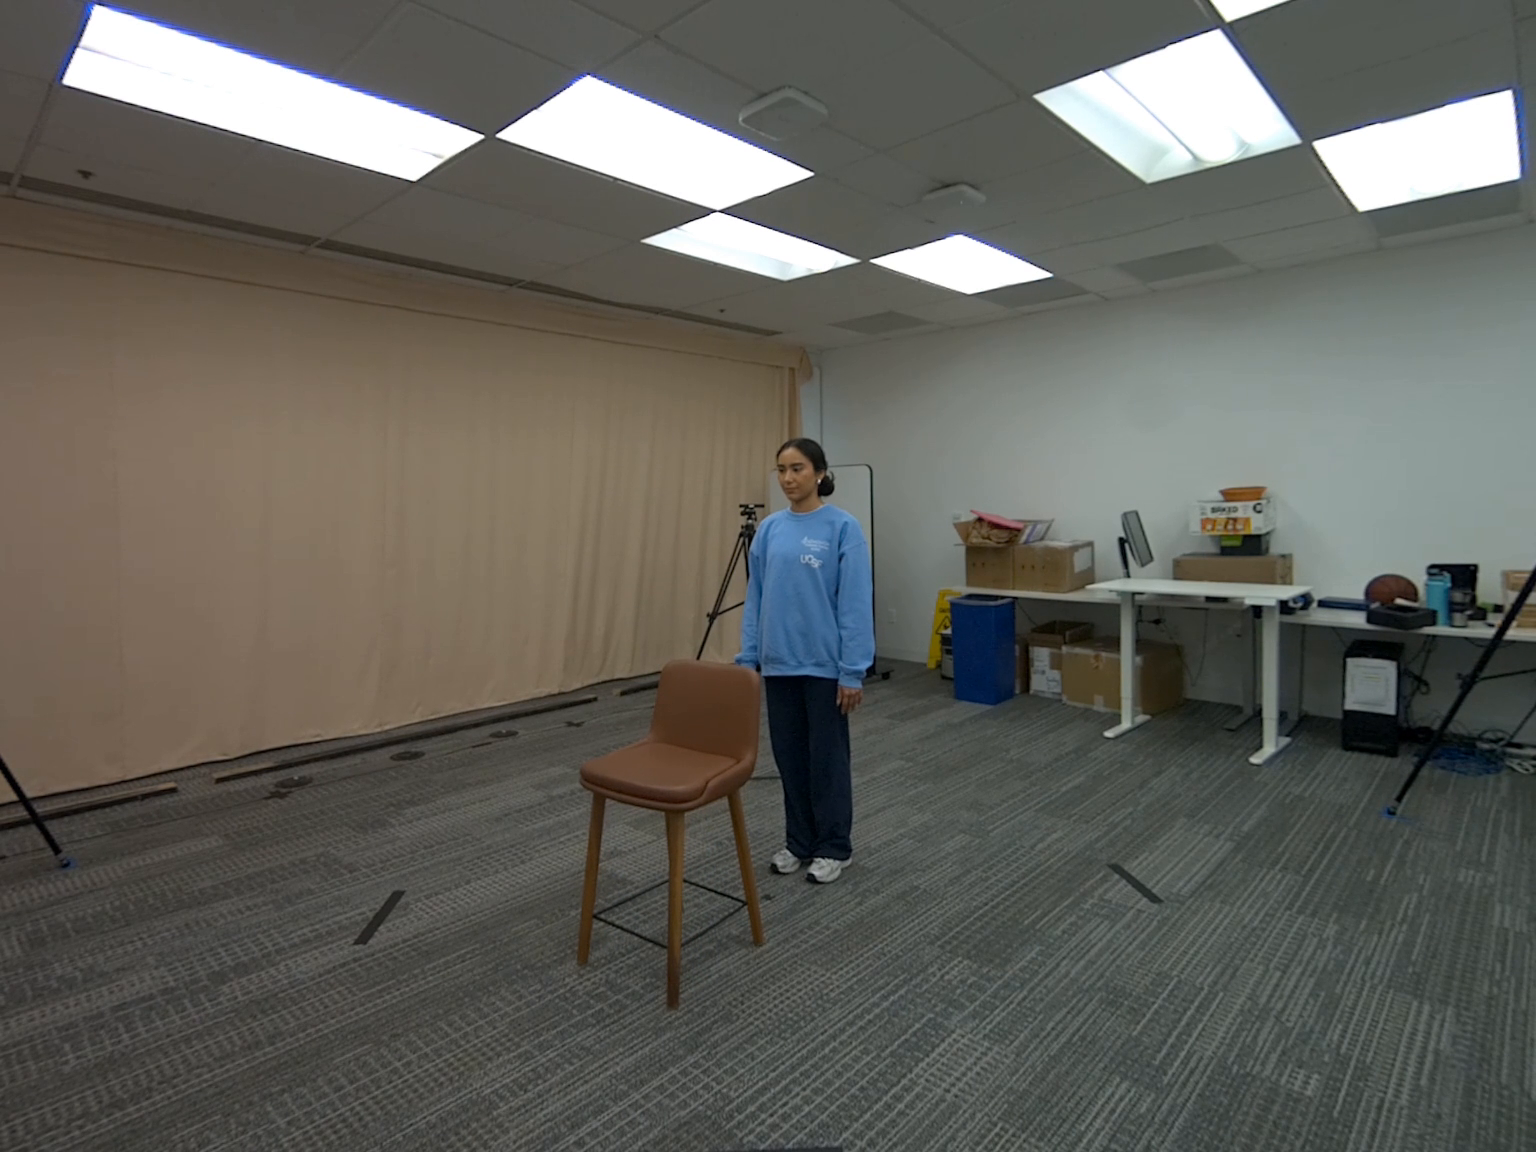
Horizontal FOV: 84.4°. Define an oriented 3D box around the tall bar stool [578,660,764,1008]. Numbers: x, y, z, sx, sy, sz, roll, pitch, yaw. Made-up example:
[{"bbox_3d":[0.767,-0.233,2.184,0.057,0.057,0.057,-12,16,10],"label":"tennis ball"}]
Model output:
[{"bbox_3d":[-0.291,0.741,2.604,0.471,0.889,0.453,2,2,38],"label":"tall bar stool"}]
